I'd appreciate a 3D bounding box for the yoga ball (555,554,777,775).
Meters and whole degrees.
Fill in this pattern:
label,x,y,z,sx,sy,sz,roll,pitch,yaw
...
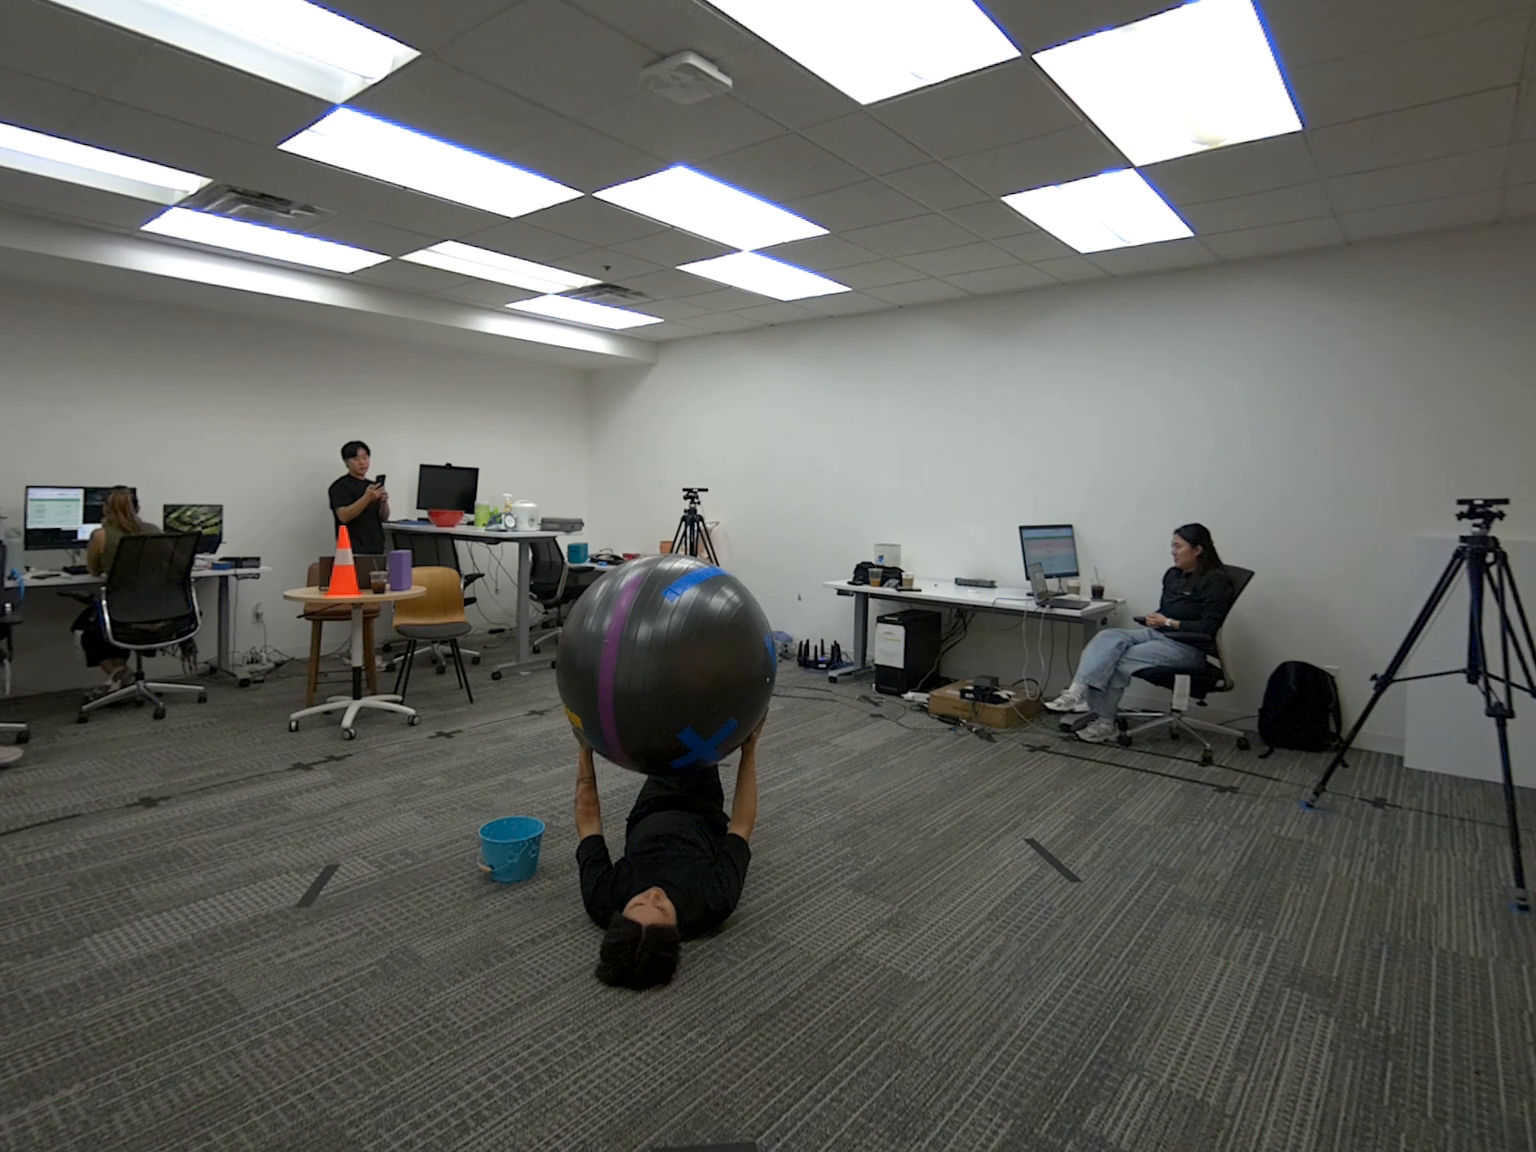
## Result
label,x,y,z,sx,sy,sz,roll,pitch,yaw
yoga ball,-0.358,0.307,2.951,0.757,0.755,0.762,1,4,-2
